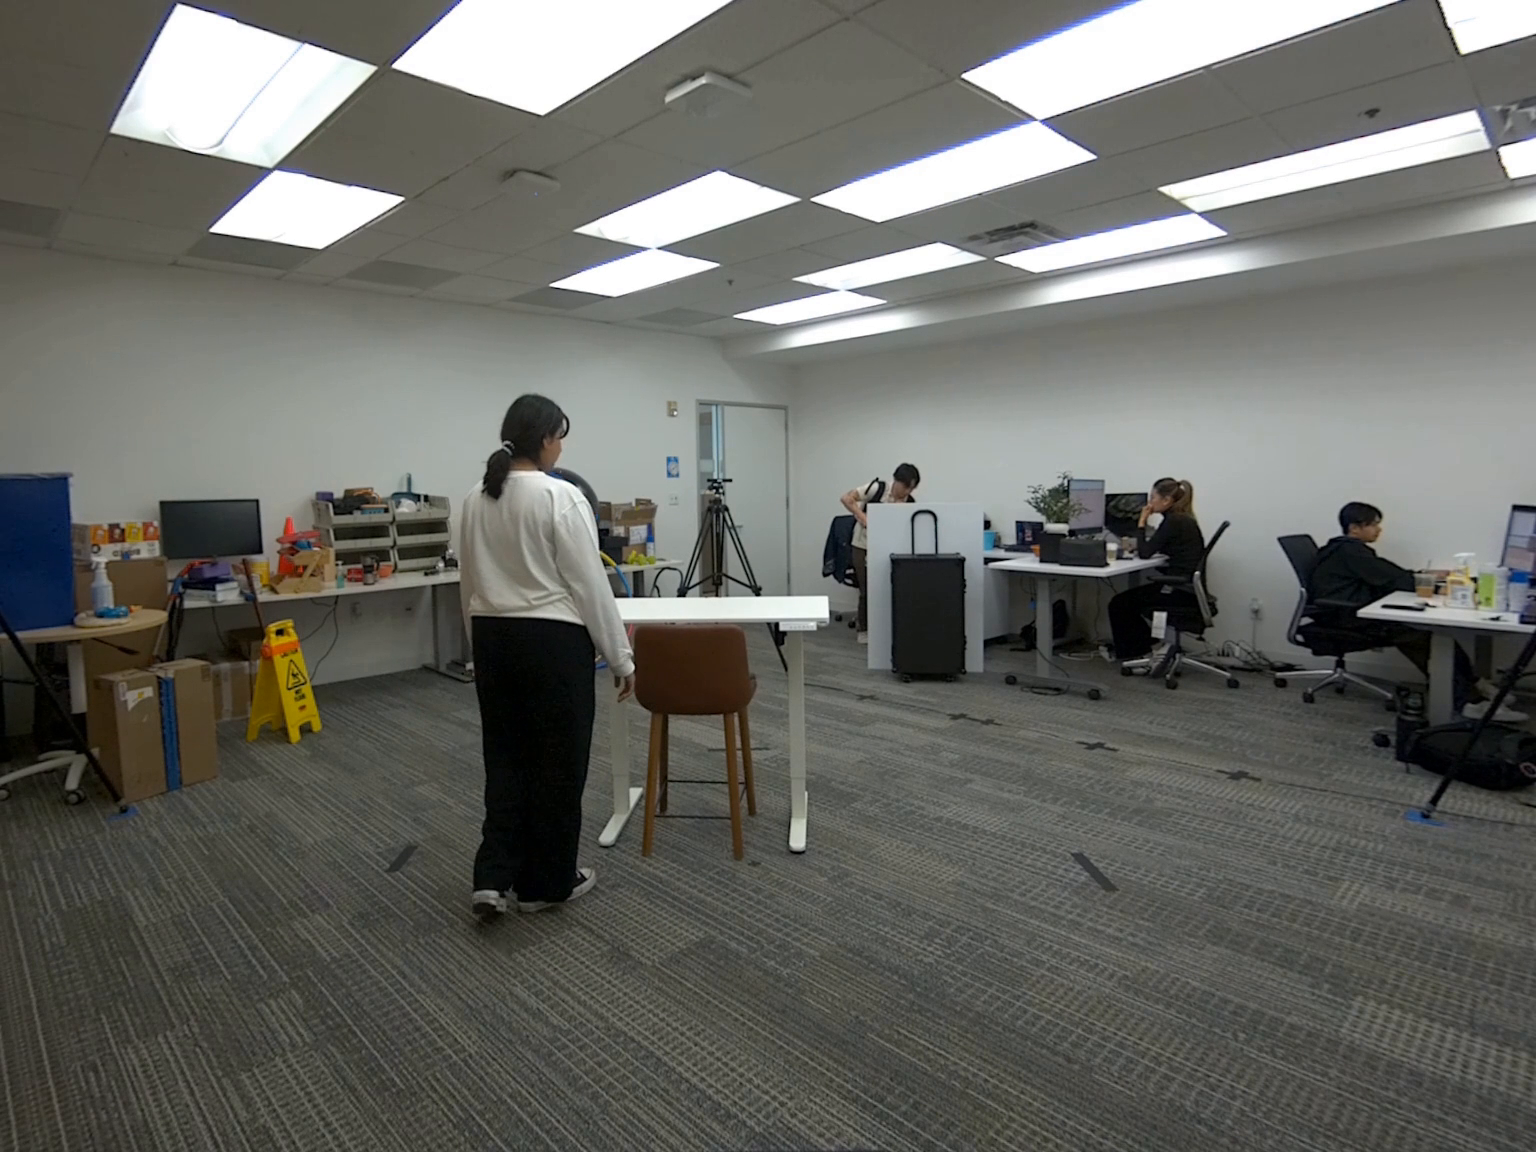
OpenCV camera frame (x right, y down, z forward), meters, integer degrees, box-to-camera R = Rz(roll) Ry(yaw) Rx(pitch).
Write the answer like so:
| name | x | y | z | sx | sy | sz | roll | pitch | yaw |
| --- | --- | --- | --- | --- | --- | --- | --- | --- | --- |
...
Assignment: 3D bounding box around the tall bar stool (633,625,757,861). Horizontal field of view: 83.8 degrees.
| name | x | y | z | sx | sy | sz | roll | pitch | yaw |
| --- | --- | --- | --- | --- | --- | --- | --- | --- | --- |
| tall bar stool | -0.285 | 0.592 | 3.350 | 0.460 | 0.886 | 0.466 | -1 | 5 | 7 |
